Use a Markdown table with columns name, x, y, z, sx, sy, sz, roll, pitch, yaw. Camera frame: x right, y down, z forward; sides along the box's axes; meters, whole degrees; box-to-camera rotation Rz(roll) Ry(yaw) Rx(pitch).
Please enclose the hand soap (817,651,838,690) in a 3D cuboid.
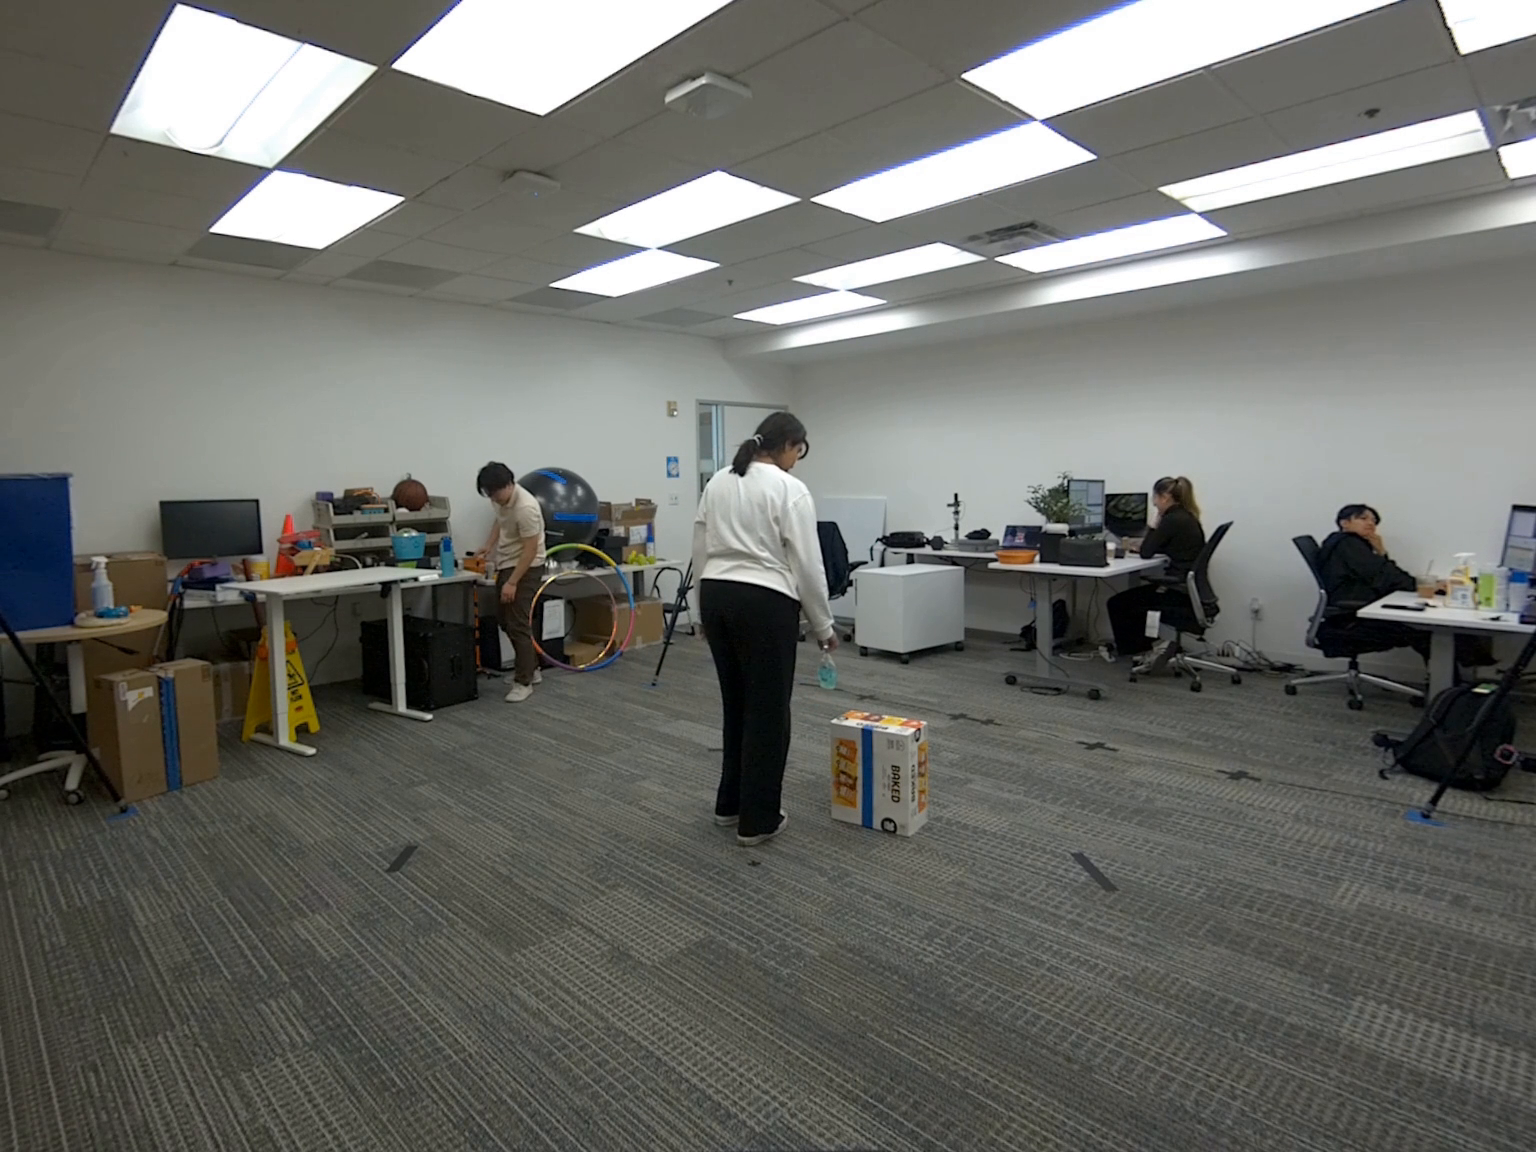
| name | x | y | z | sx | sy | sz | roll | pitch | yaw |
| --- | --- | --- | --- | --- | --- | --- | --- | --- | --- |
| hand soap | 0.233 | 0.358 | 3.375 | 0.086 | 0.167 | 0.043 | 1 | 9 | 25 |
